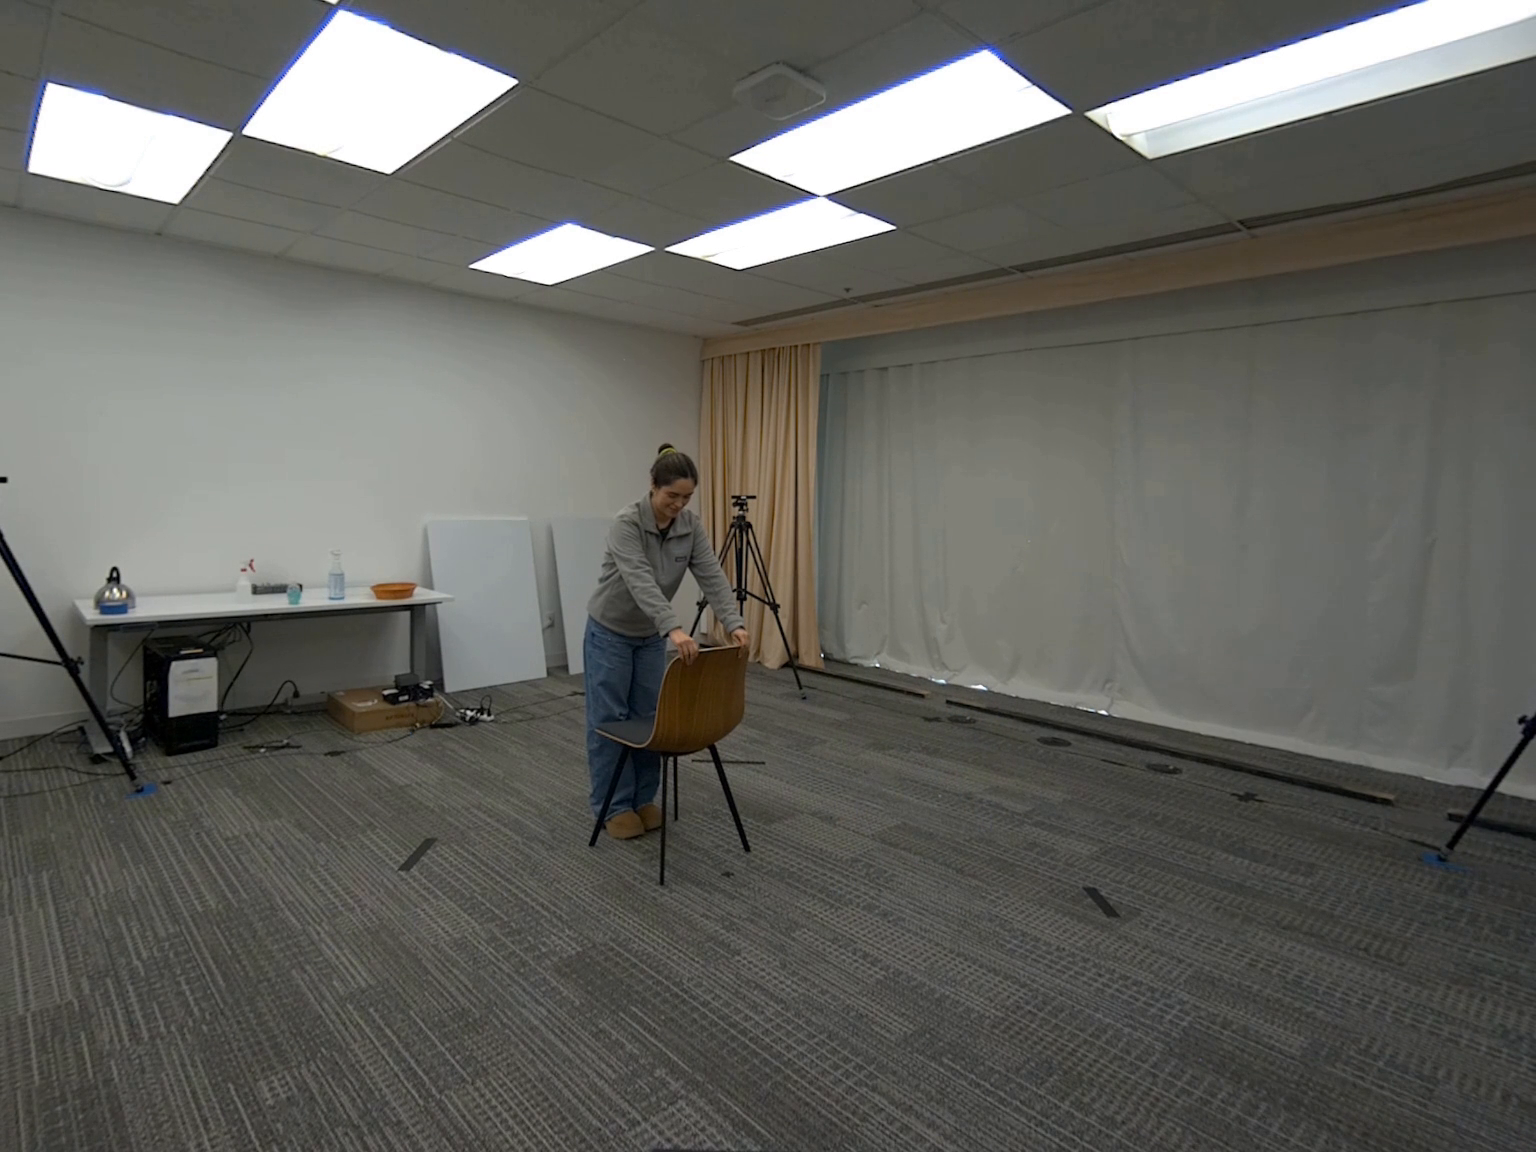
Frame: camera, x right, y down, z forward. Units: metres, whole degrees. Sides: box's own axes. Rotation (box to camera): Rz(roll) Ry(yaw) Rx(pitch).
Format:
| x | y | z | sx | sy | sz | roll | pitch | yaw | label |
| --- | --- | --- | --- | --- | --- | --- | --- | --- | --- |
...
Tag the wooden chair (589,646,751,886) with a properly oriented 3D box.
| x | y | z | sx | sy | sz | roll | pitch | yaw | label |
| --- | --- | --- | --- | --- | --- | --- | --- | --- | --- |
| -0.383 | 0.654 | 3.286 | 0.467 | 0.874 | 0.537 | -2 | 9 | -45 | wooden chair |
